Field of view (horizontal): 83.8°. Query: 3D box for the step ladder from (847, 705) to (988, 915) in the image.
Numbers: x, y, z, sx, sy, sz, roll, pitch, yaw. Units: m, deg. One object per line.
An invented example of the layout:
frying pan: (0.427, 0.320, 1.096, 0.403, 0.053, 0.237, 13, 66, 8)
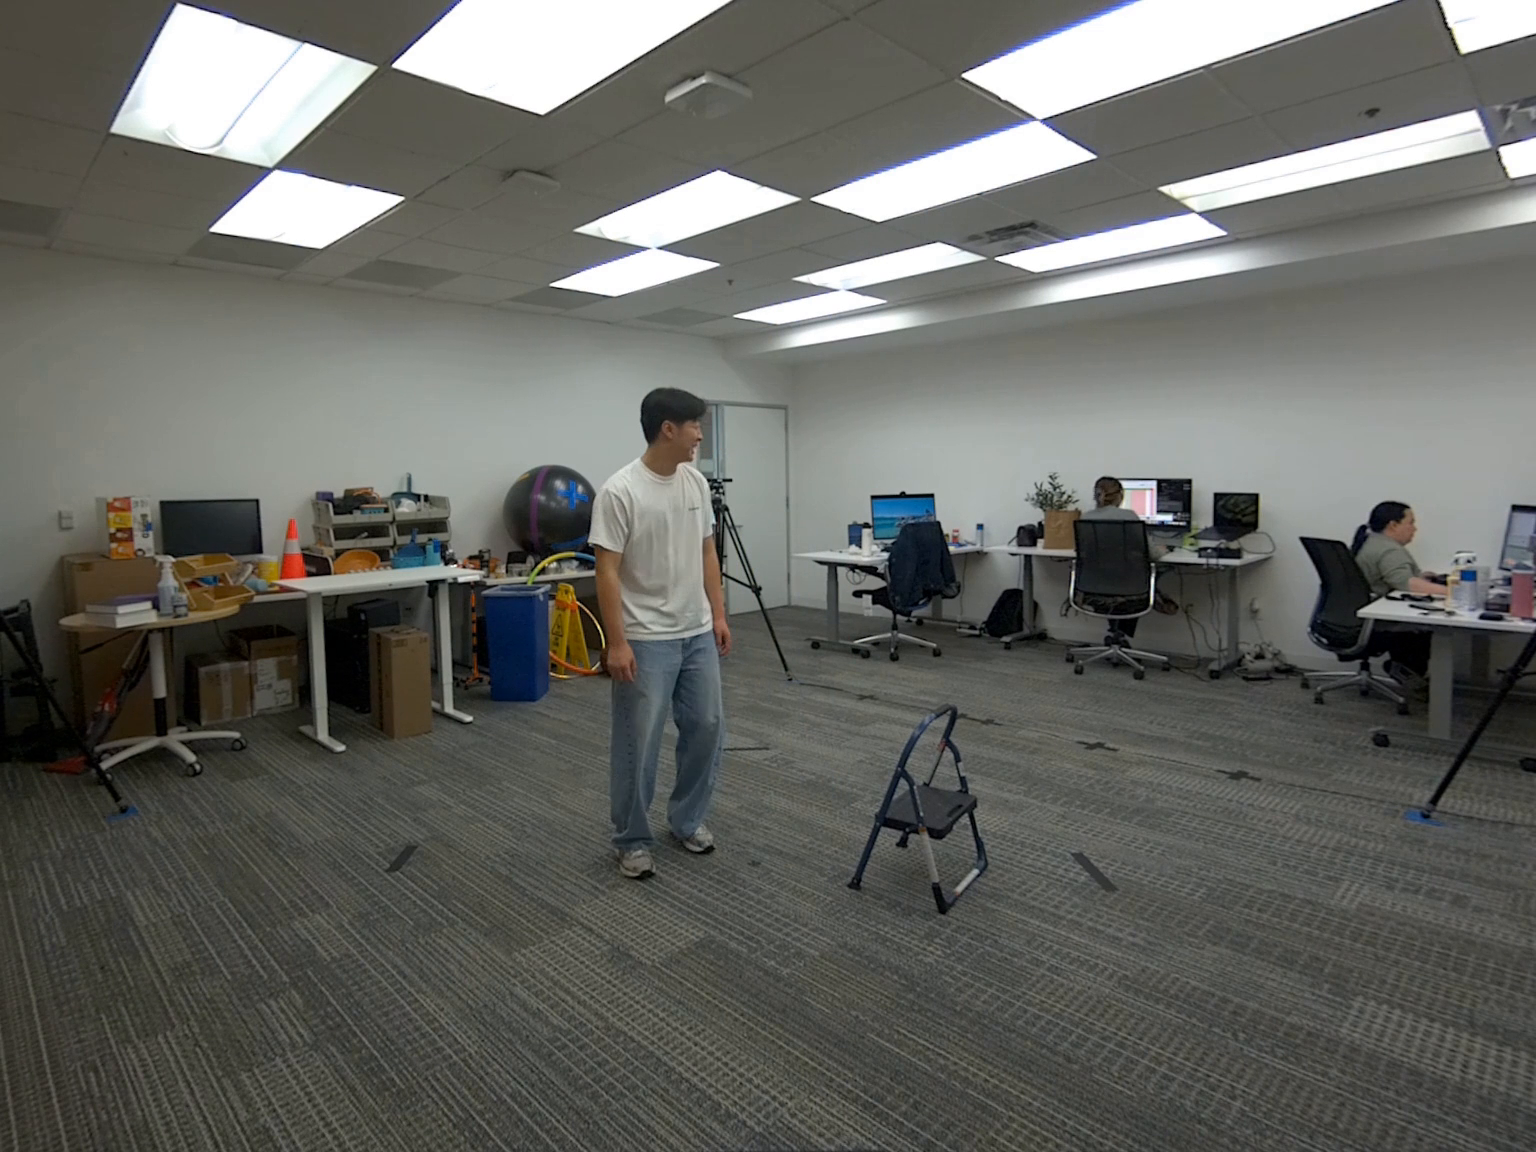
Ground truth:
step ladder: (0.529, 0.745, 2.957, 0.359, 0.604, 0.420, 2, 5, 34)
